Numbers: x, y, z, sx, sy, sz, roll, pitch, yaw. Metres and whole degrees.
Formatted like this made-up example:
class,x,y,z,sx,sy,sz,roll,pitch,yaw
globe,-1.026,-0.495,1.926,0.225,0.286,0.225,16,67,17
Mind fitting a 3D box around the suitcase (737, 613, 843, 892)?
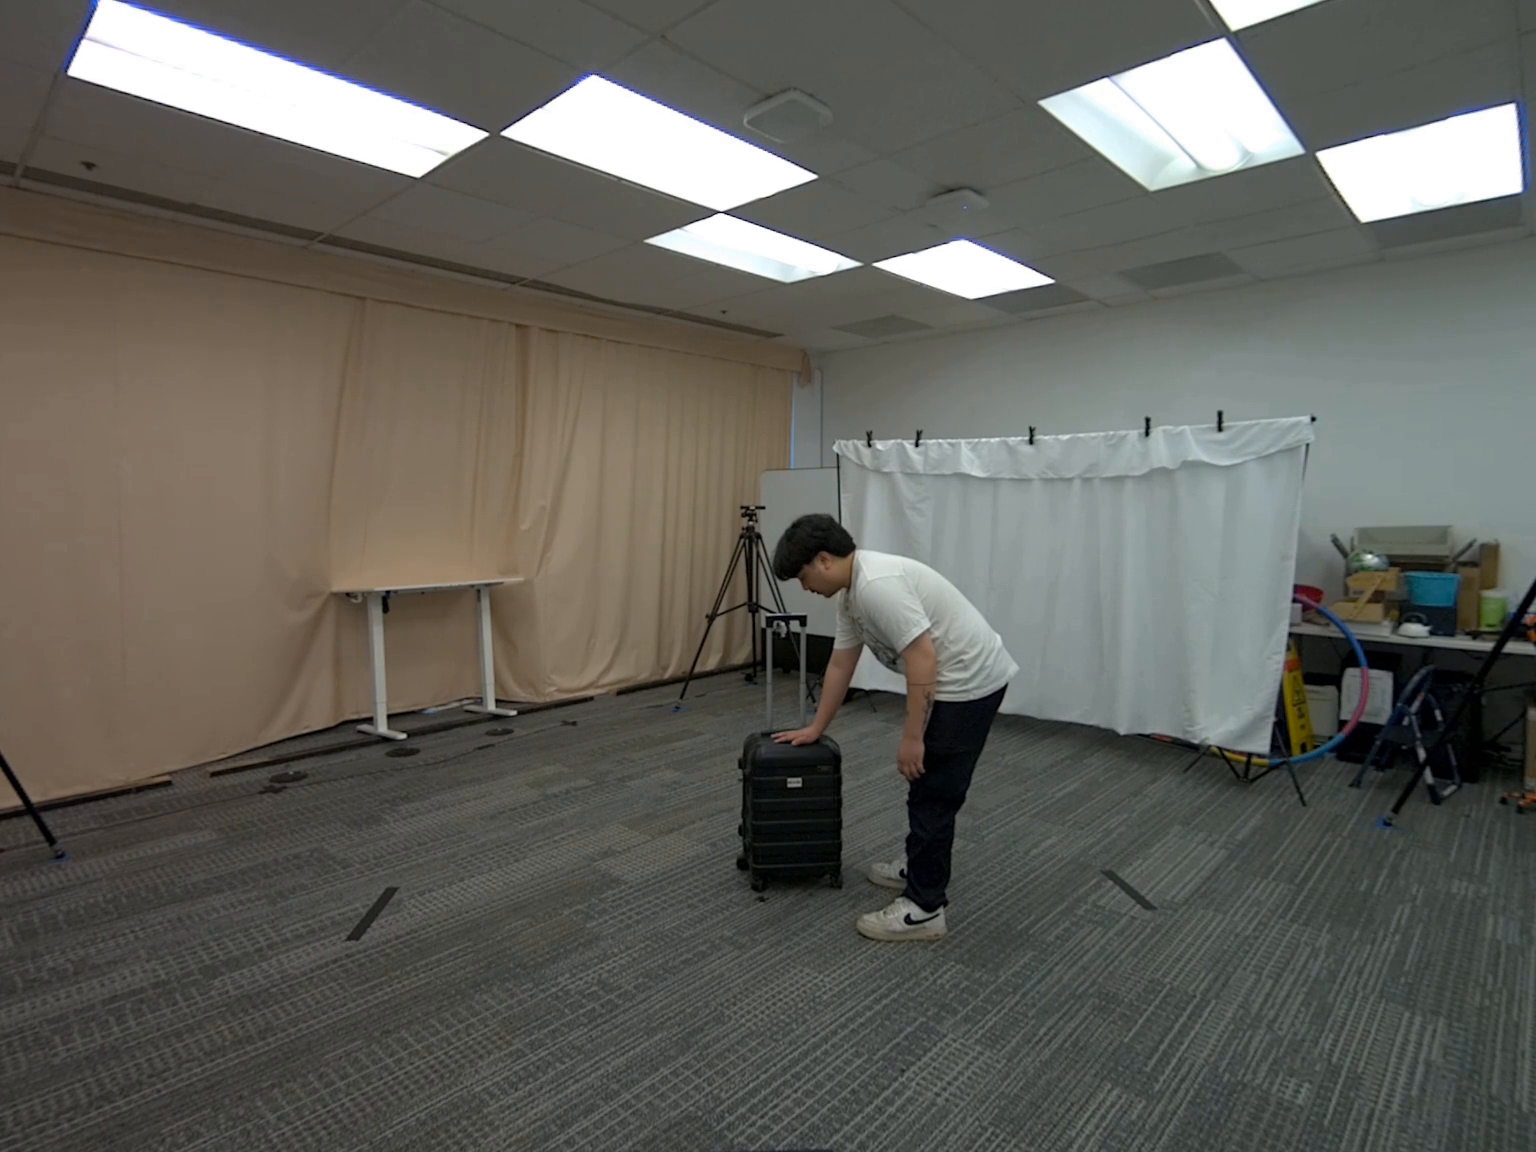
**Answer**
class,x,y,z,sx,sy,sz,roll,pitch,yaw
suitcase,0.092,0.658,3.116,0.382,0.975,0.259,0,6,-6
